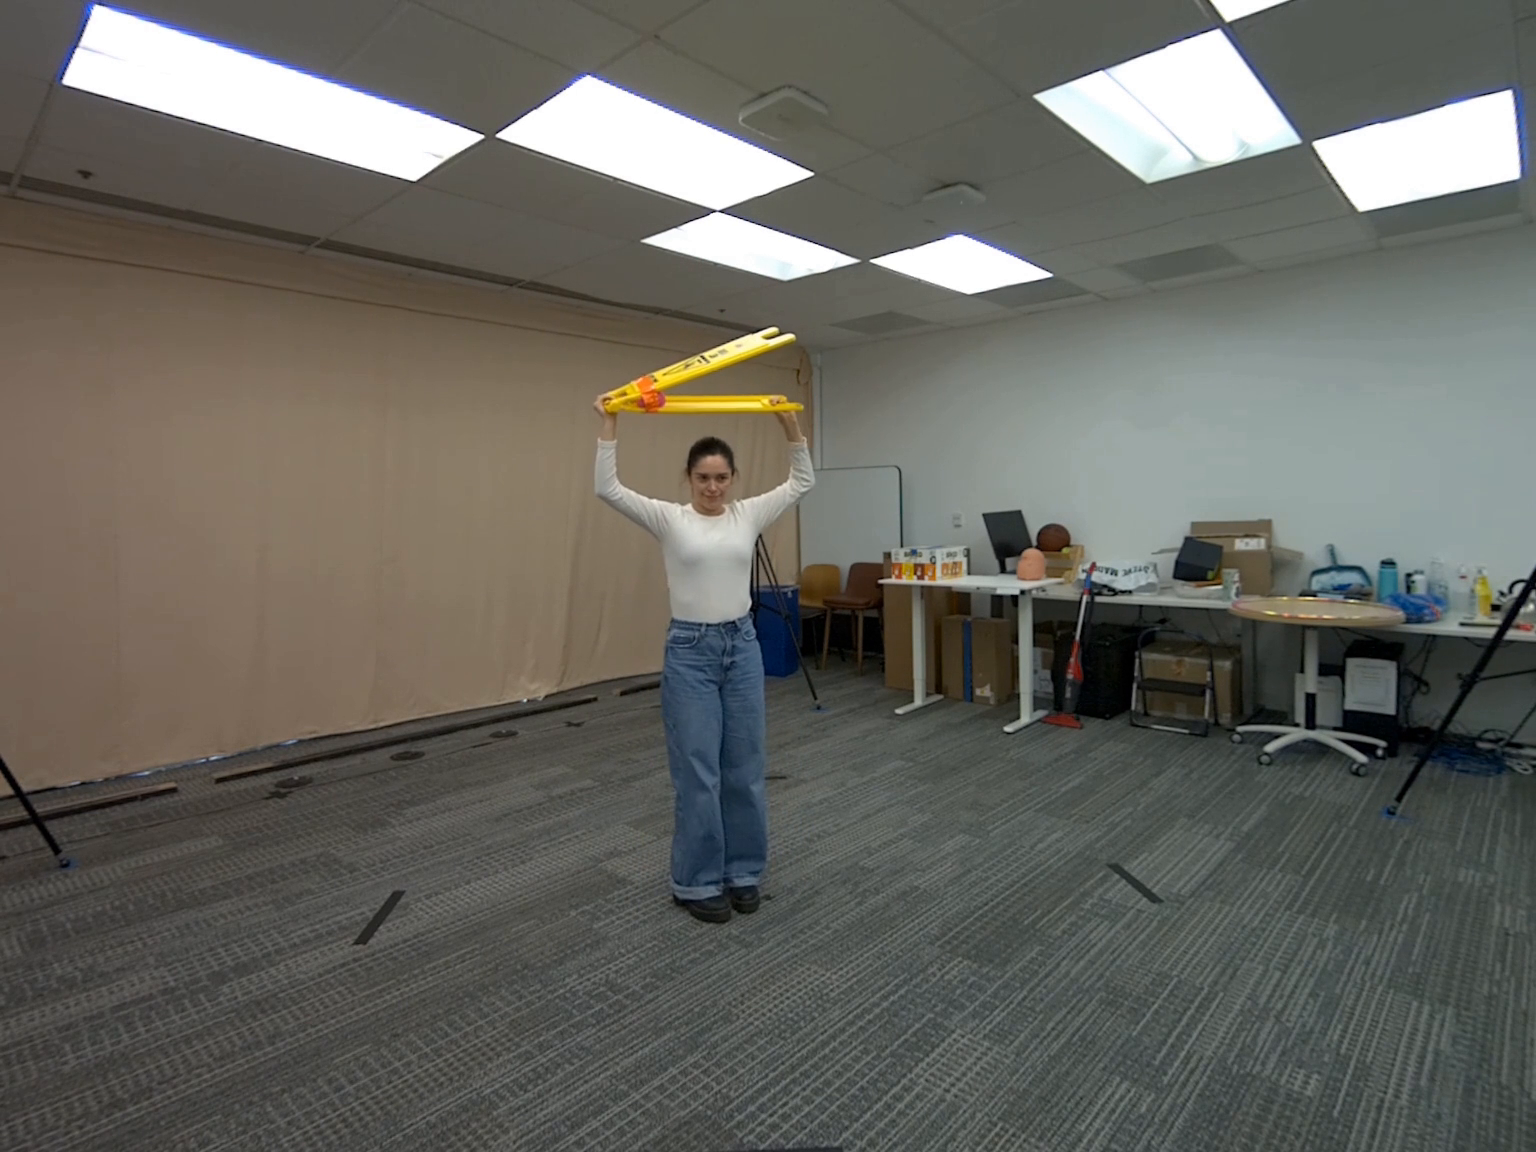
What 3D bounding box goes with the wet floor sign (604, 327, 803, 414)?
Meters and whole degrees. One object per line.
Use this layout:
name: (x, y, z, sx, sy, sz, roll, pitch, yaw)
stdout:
wet floor sign: (-0.242, -0.643, 2.857, 0.640, 0.285, 0.289, -12, 24, -10)
